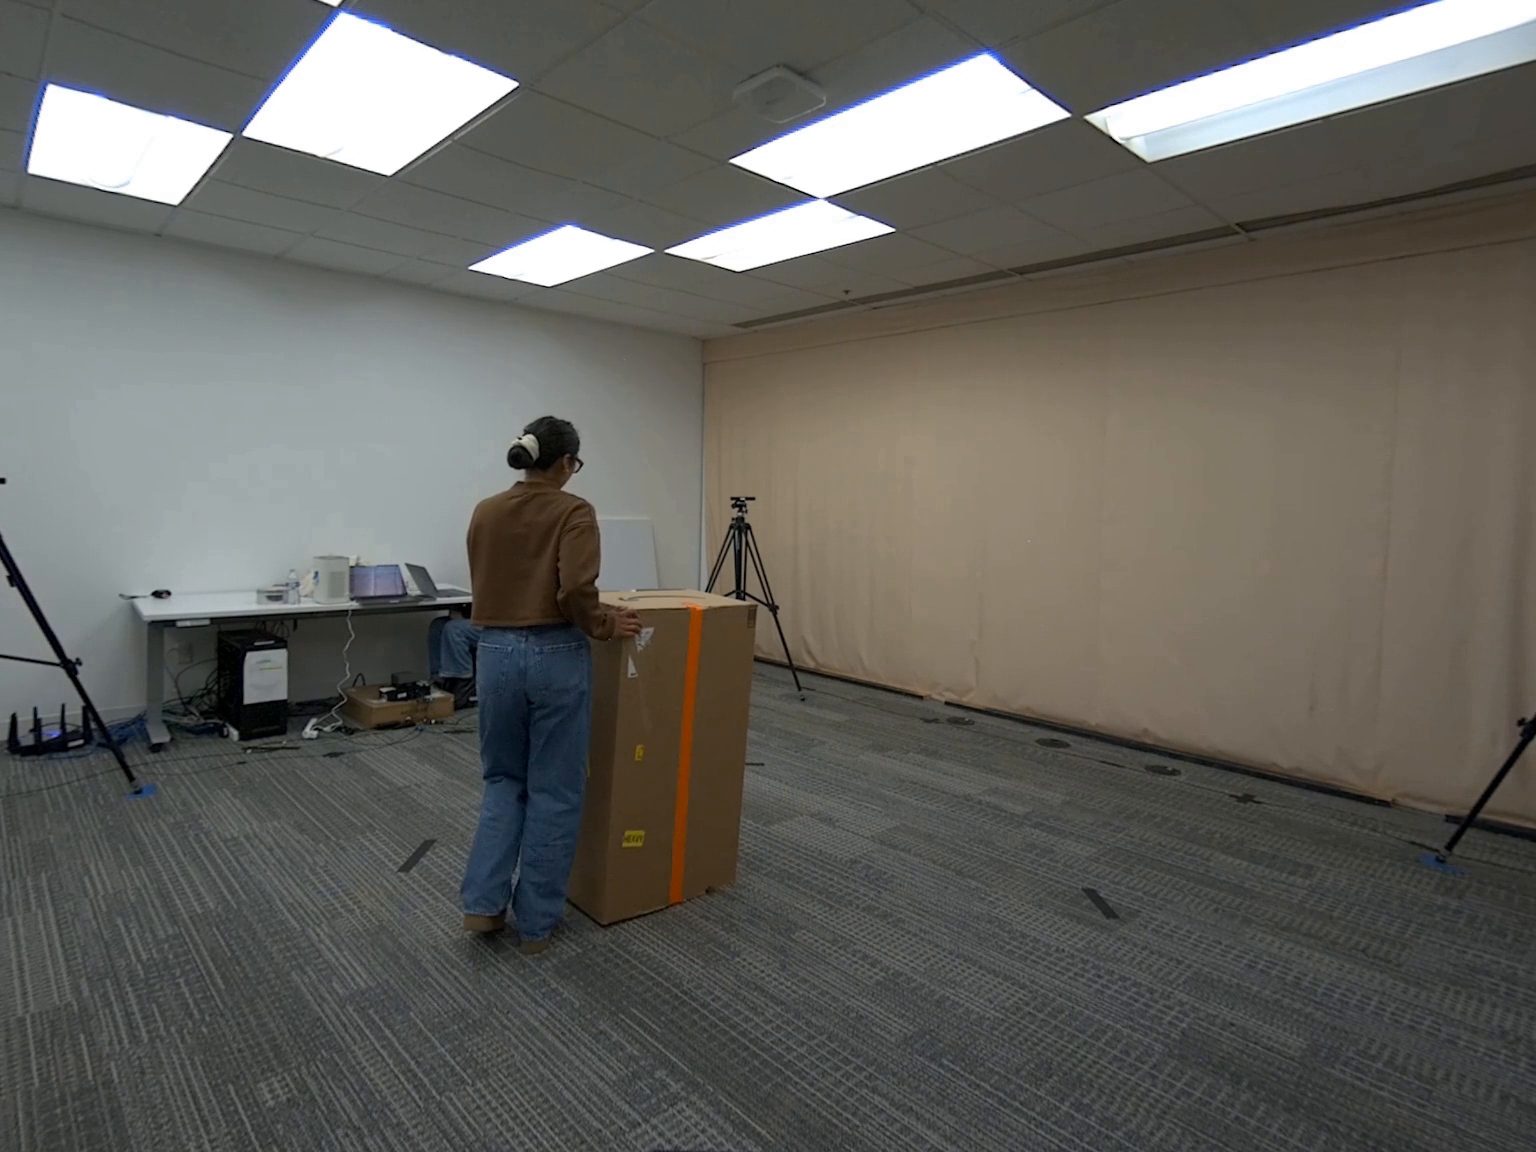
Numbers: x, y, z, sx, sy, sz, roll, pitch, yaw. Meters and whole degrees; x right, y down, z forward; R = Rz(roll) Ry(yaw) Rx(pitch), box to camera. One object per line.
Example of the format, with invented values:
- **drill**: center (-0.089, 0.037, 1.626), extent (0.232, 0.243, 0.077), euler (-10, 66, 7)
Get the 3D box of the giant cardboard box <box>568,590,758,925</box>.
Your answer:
- **giant cardboard box**: center (-0.422, 0.591, 3.009), extent (0.564, 1.023, 0.437), euler (1, 5, -42)
